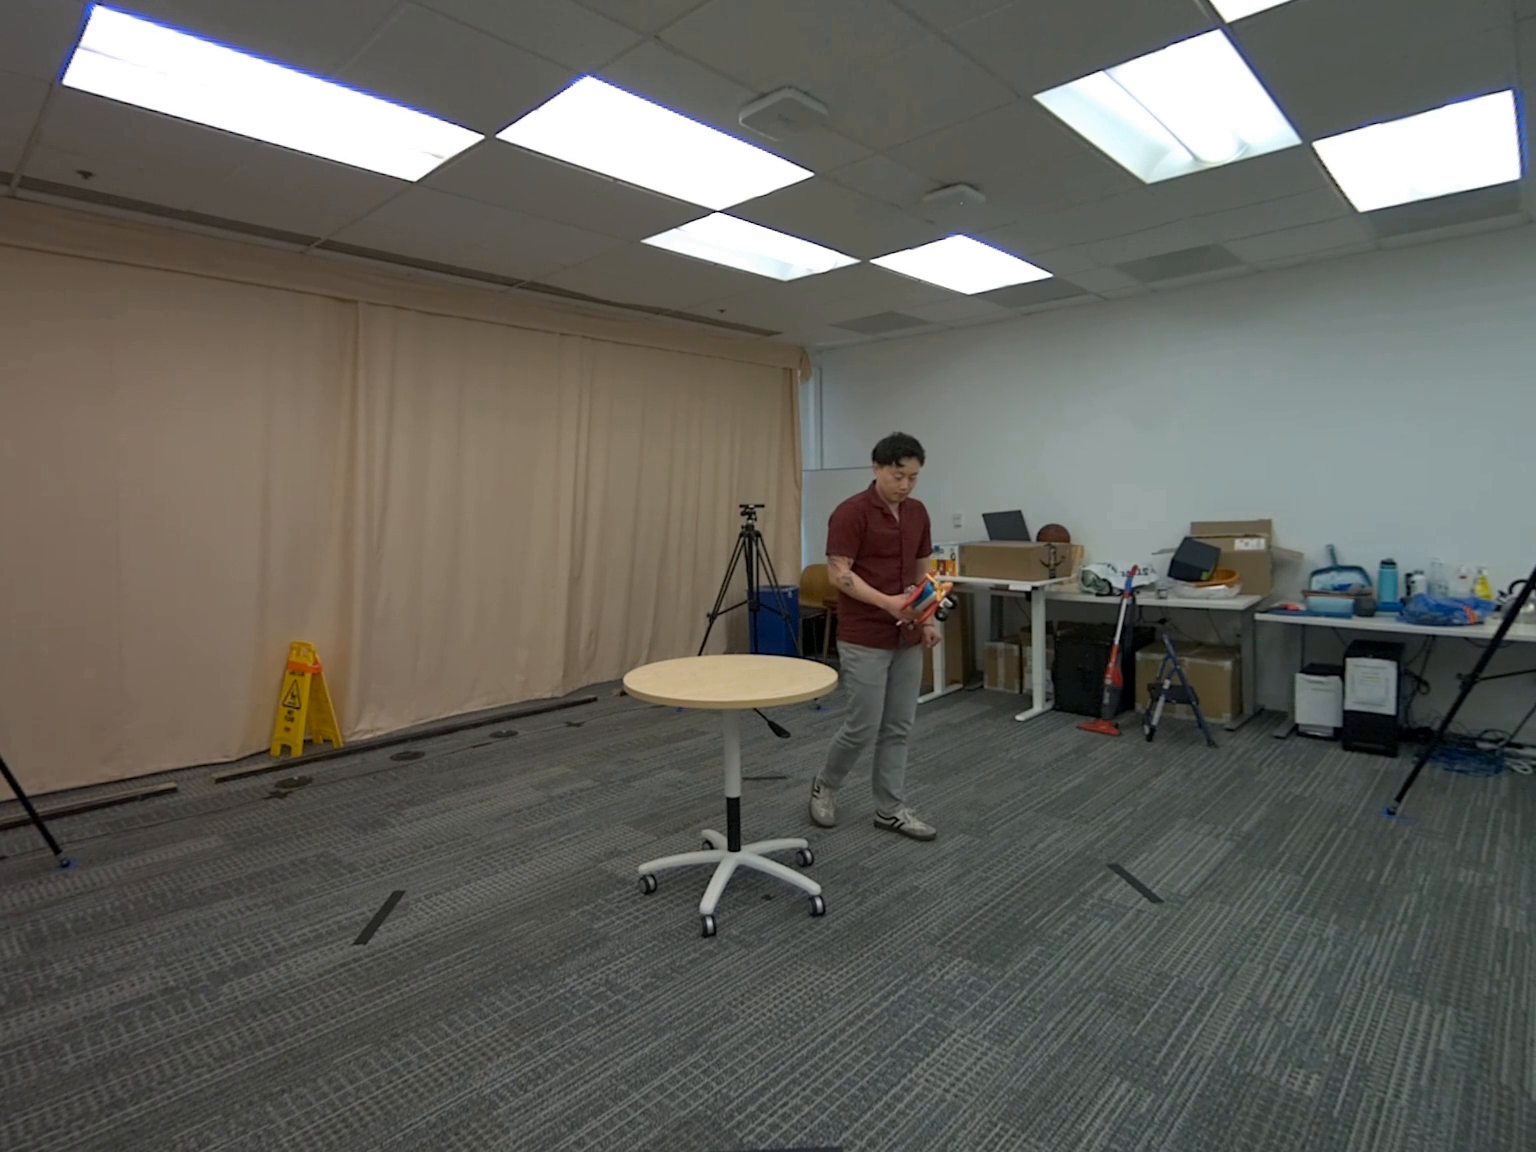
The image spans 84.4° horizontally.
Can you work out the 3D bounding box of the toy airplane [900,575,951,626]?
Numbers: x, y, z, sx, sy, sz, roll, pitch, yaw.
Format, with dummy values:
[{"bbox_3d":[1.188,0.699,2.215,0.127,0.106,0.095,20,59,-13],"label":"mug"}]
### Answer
[{"bbox_3d":[0.579,0.116,3.205,0.262,0.155,0.250,-31,8,20],"label":"toy airplane"}]
